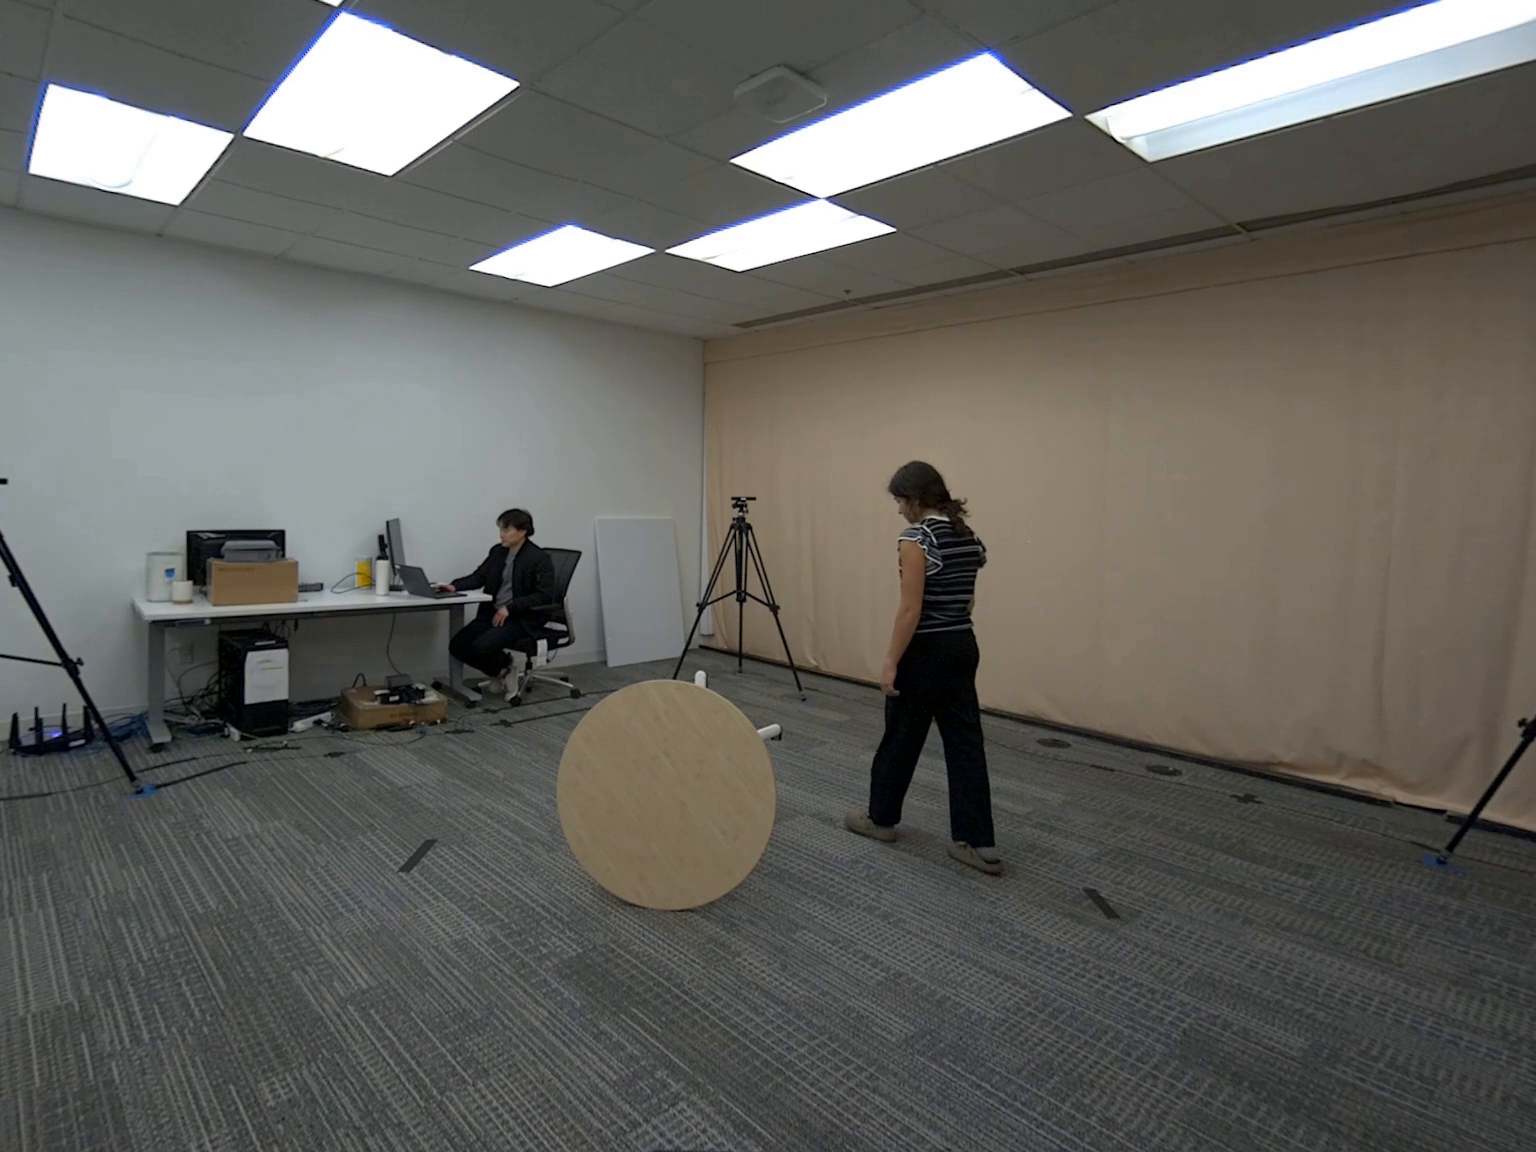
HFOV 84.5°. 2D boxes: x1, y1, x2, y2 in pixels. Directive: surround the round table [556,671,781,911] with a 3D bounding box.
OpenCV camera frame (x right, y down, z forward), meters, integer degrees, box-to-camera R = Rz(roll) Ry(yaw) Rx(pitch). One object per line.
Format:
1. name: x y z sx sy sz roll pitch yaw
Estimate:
1. round table: -0.325 0.751 3.252 0.790 0.786 0.779 2 -2 8
